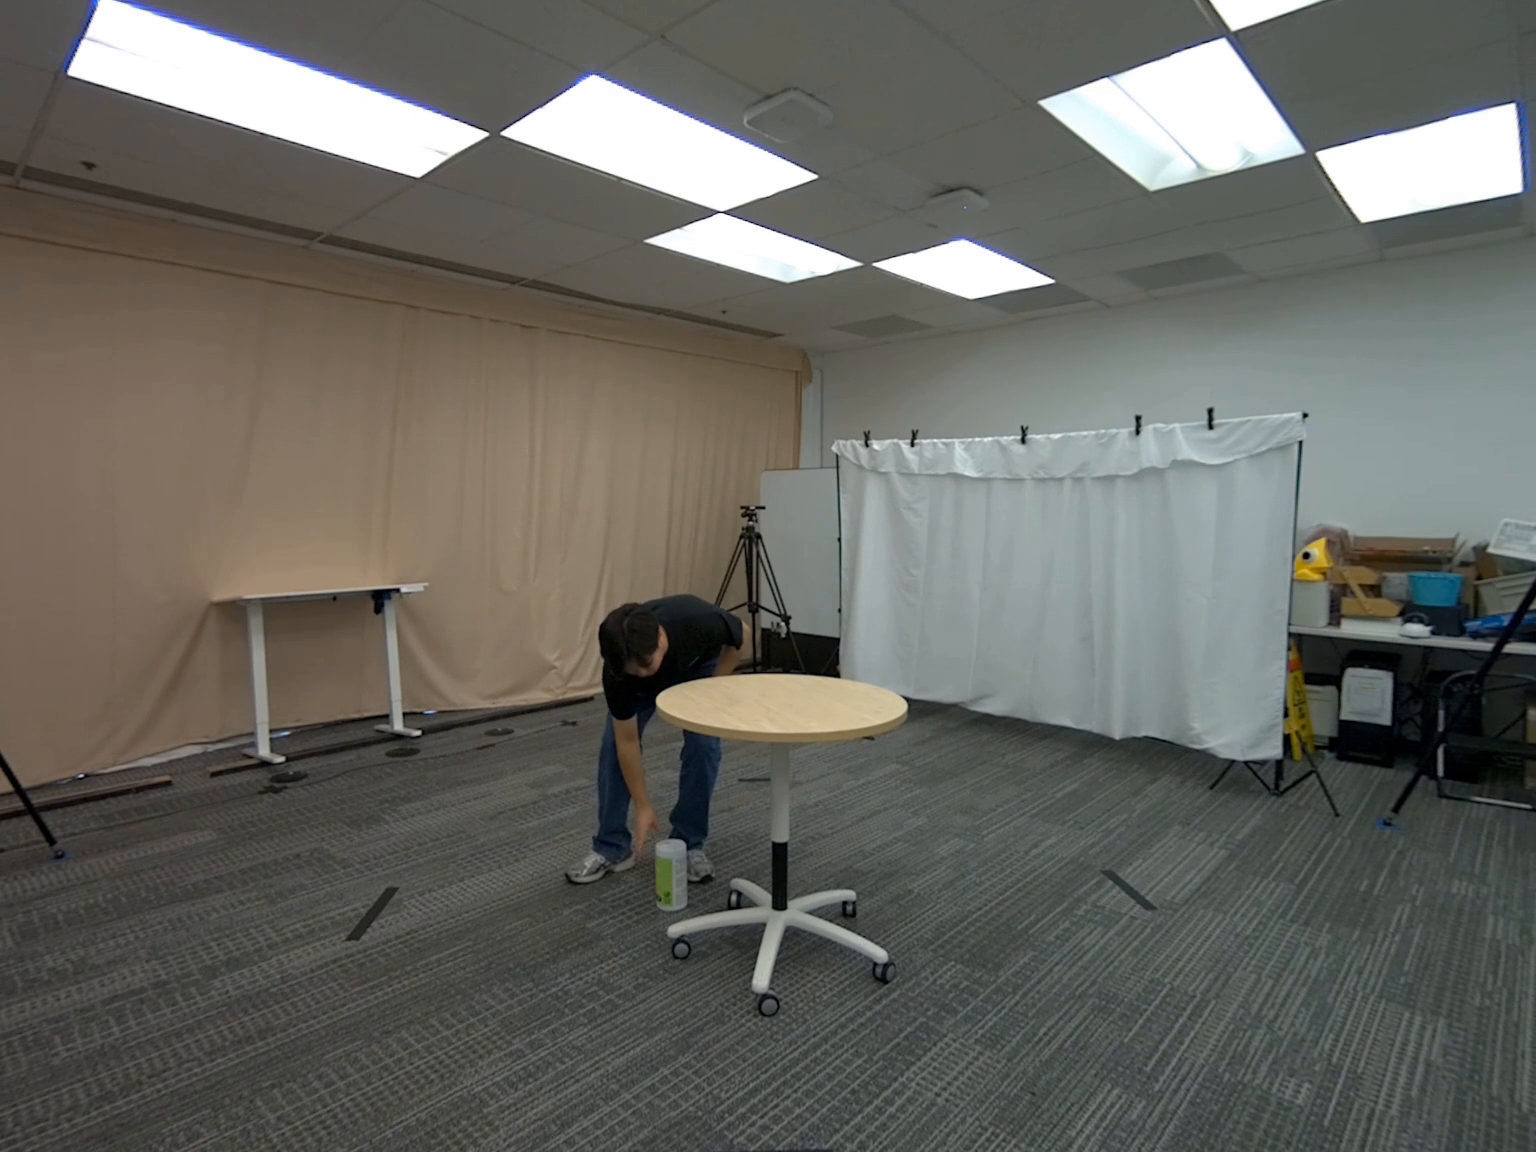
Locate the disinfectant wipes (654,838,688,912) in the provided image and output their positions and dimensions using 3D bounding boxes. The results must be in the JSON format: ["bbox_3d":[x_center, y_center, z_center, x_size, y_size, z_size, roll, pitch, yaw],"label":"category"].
[{"bbox_3d":[-0.346,1.044,2.945,0.118,0.217,0.118,-2,5,-2],"label":"disinfectant wipes"}]
